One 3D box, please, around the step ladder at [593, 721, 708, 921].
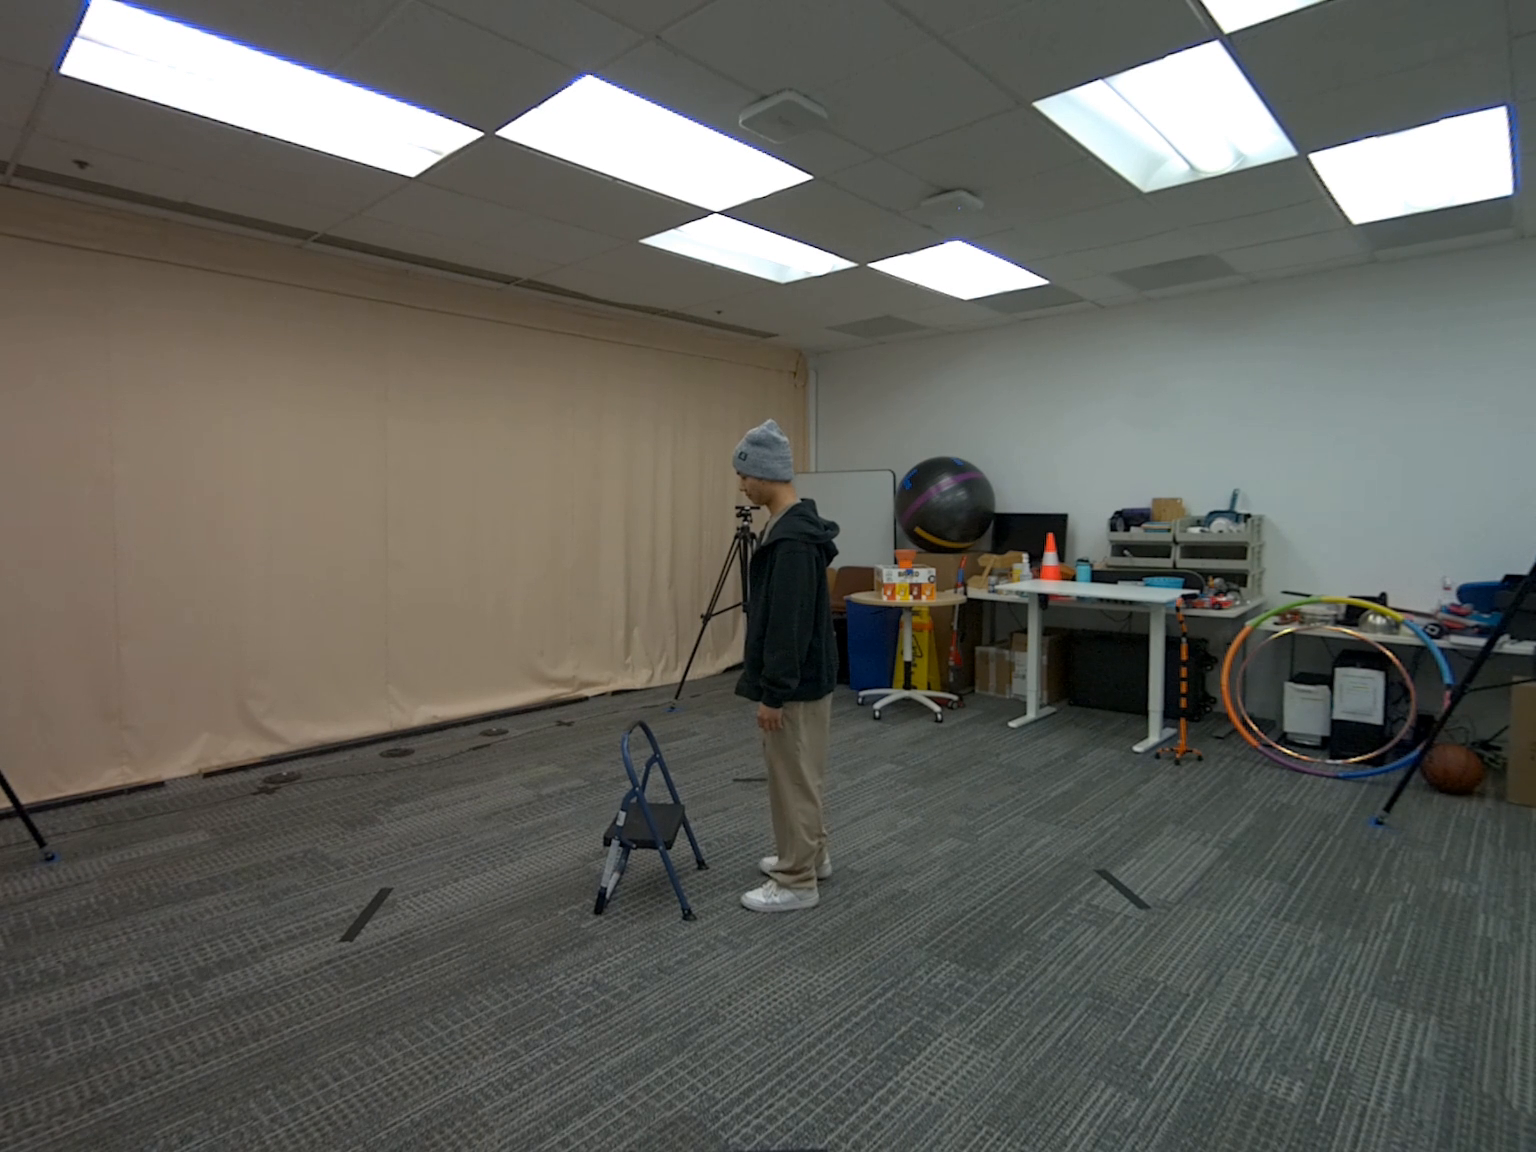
[{"bbox_3d":[-0.417,0.844,3.046,0.351,0.605,0.429,0,3,3],"label":"step ladder"}]
